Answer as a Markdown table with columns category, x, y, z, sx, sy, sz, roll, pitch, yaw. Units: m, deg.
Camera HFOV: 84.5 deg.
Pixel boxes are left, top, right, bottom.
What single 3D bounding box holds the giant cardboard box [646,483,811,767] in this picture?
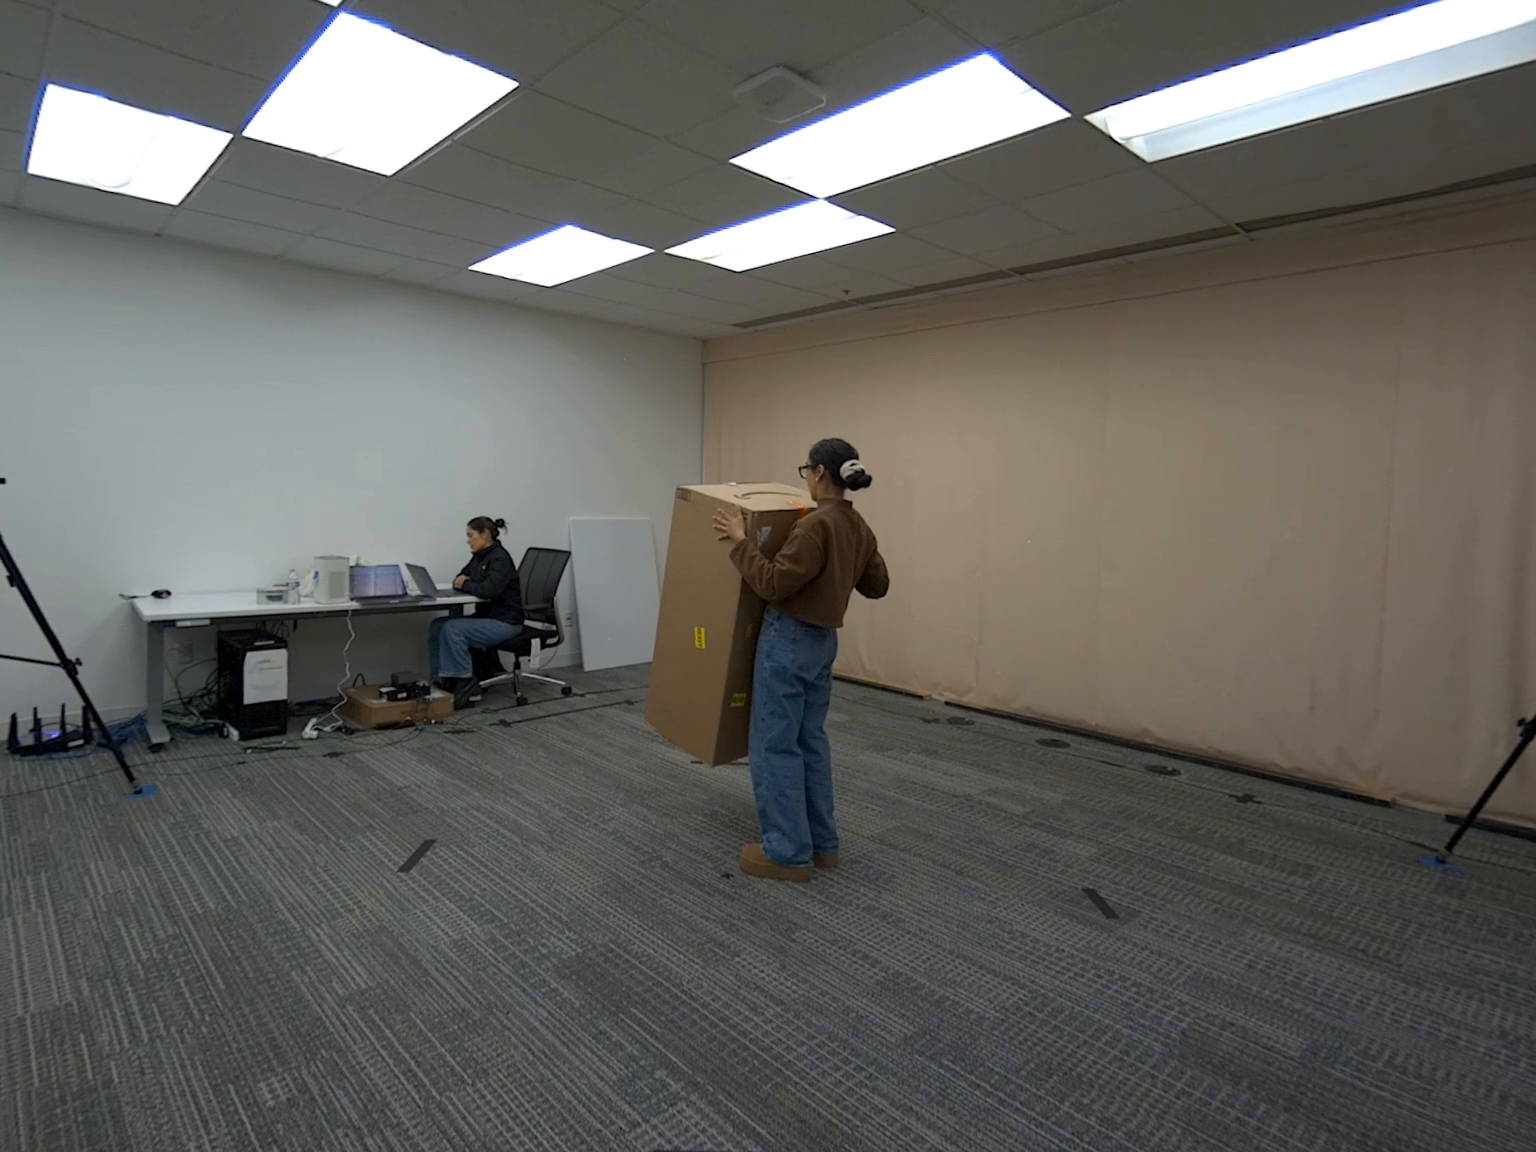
| category | x | y | z | sx | sy | sz | roll | pitch | yaw |
| --- | --- | --- | --- | --- | --- | --- | --- | --- | --- |
| giant cardboard box | -0.102 | 0.169 | 3.459 | 0.439 | 1.017 | 0.565 | 21 | 18 | 41 |
